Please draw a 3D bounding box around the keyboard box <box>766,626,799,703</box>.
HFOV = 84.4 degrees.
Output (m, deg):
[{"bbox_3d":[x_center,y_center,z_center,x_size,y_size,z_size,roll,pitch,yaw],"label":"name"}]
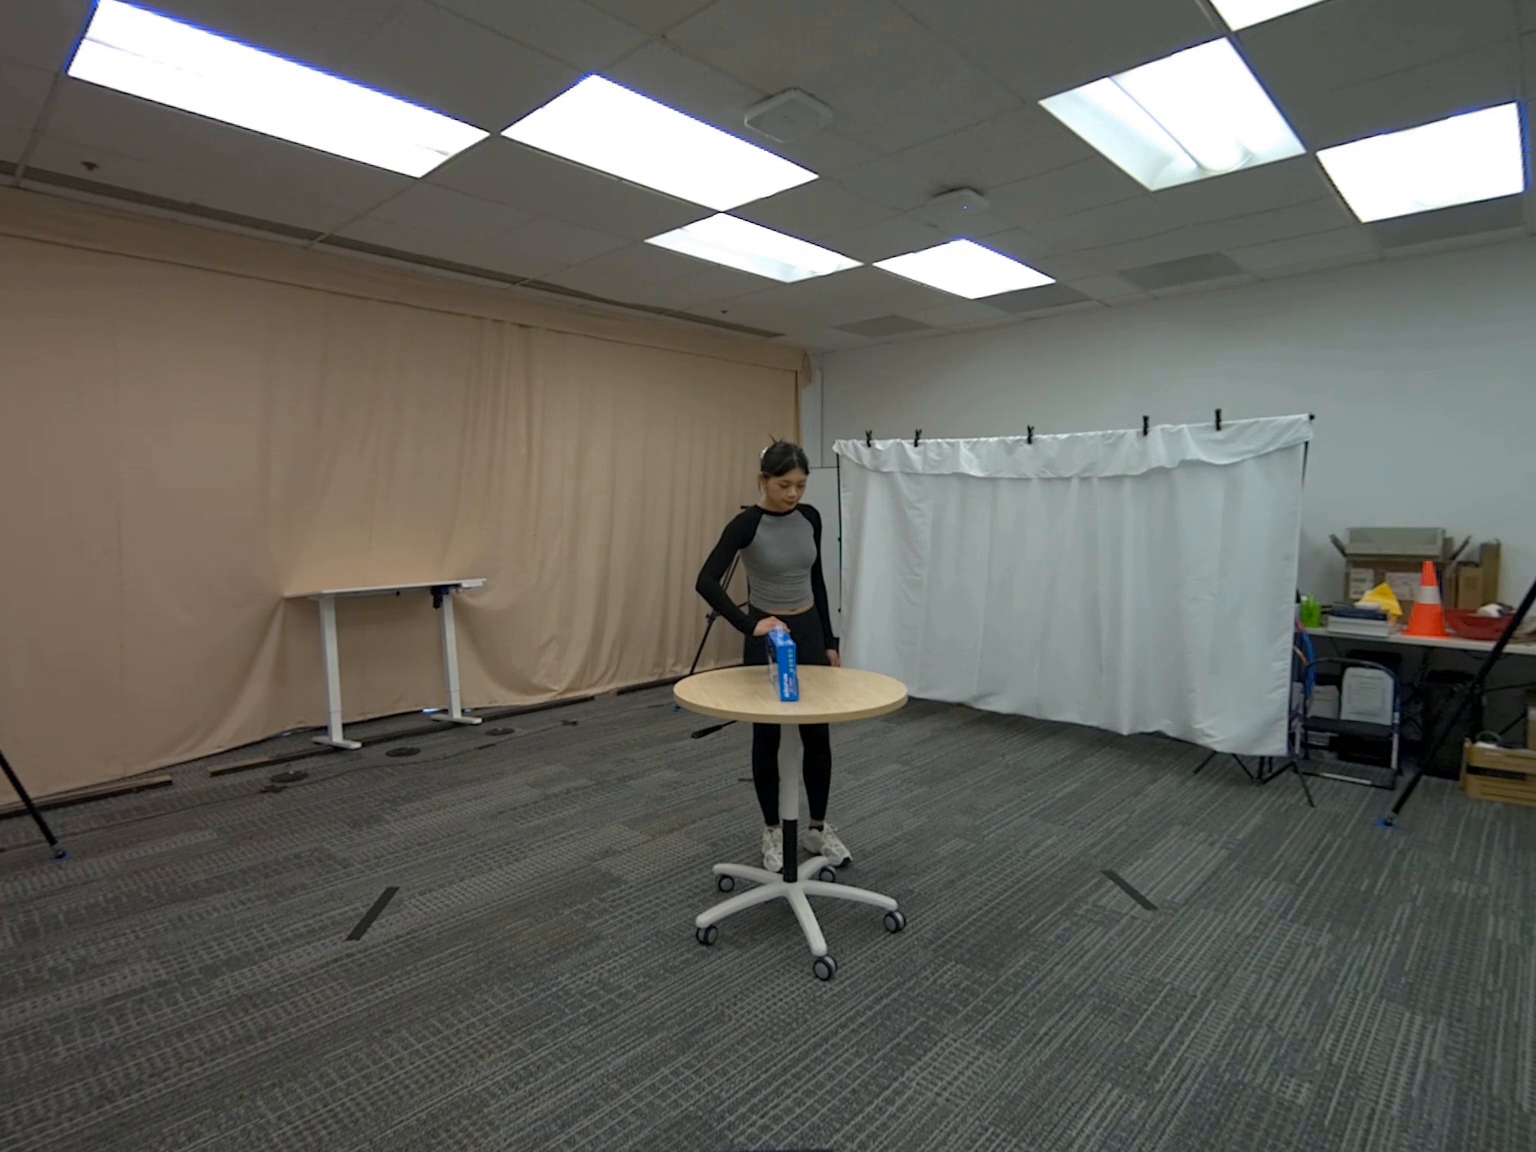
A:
[{"bbox_3d":[0.042,0.275,2.779,0.059,0.175,0.439,-3,5,-5],"label":"keyboard box"}]
